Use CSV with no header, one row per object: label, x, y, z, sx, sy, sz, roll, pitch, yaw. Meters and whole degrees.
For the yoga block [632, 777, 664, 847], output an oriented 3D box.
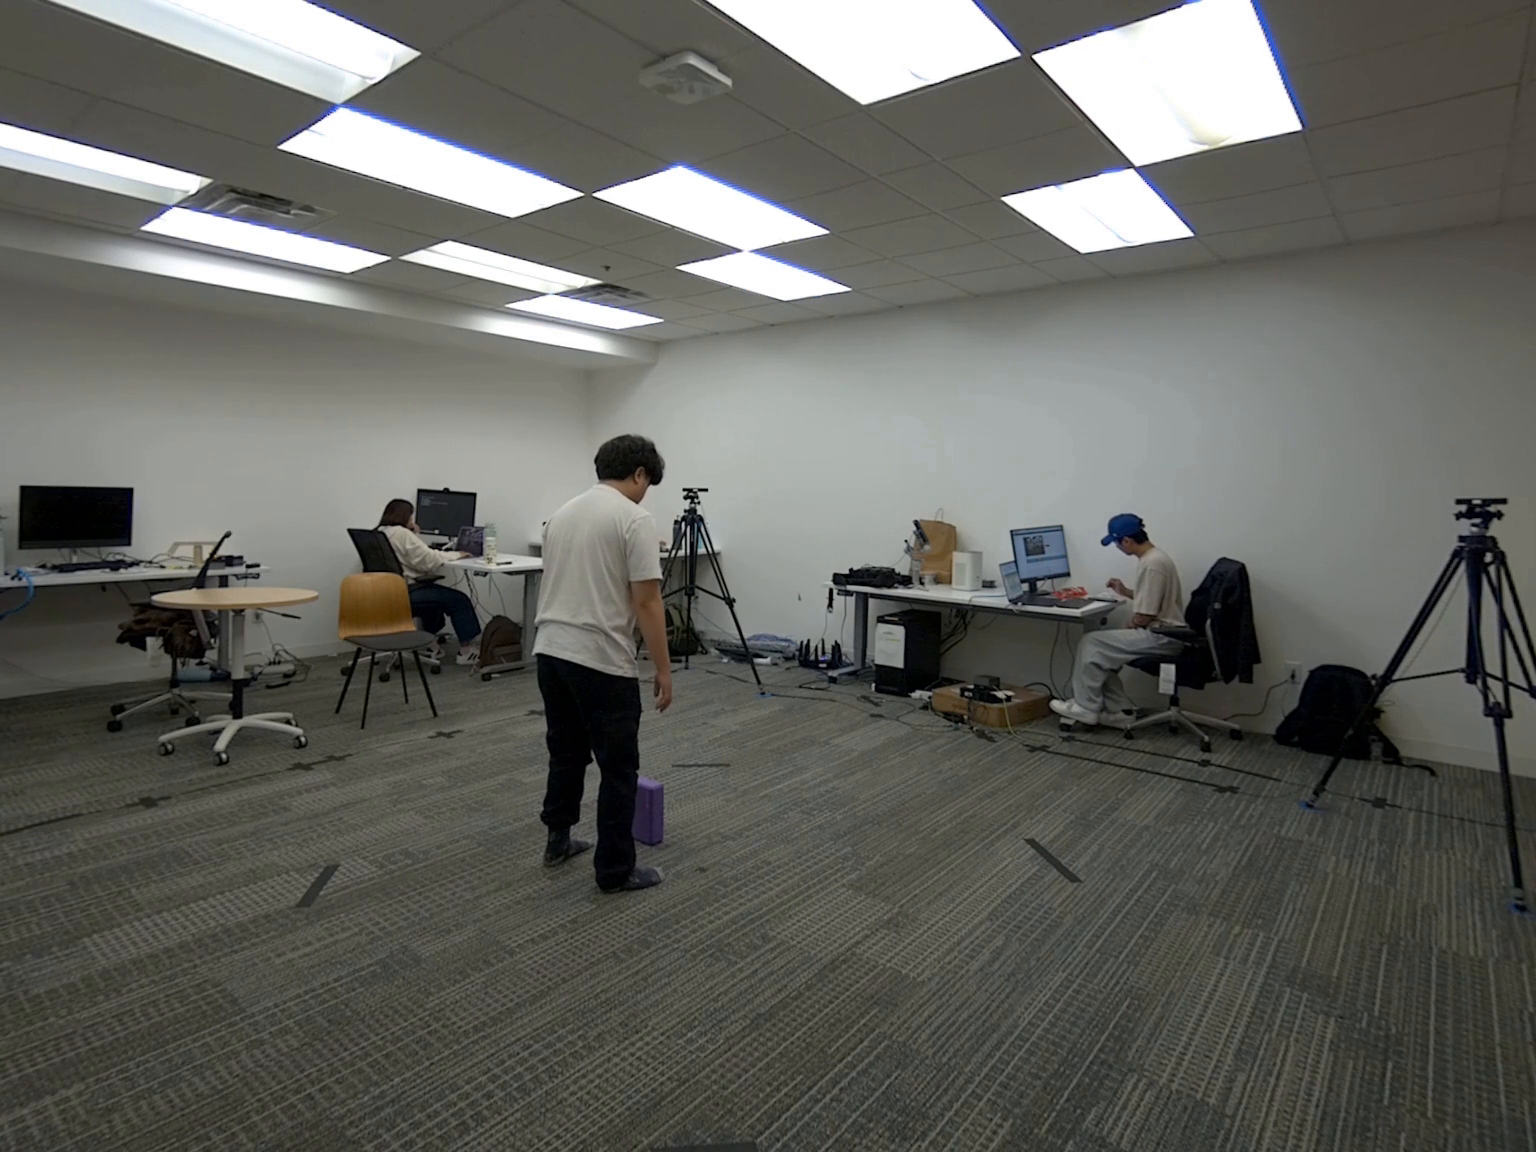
yoga block,-0.495,0.927,3.369,0.154,0.229,0.074,2,2,42
